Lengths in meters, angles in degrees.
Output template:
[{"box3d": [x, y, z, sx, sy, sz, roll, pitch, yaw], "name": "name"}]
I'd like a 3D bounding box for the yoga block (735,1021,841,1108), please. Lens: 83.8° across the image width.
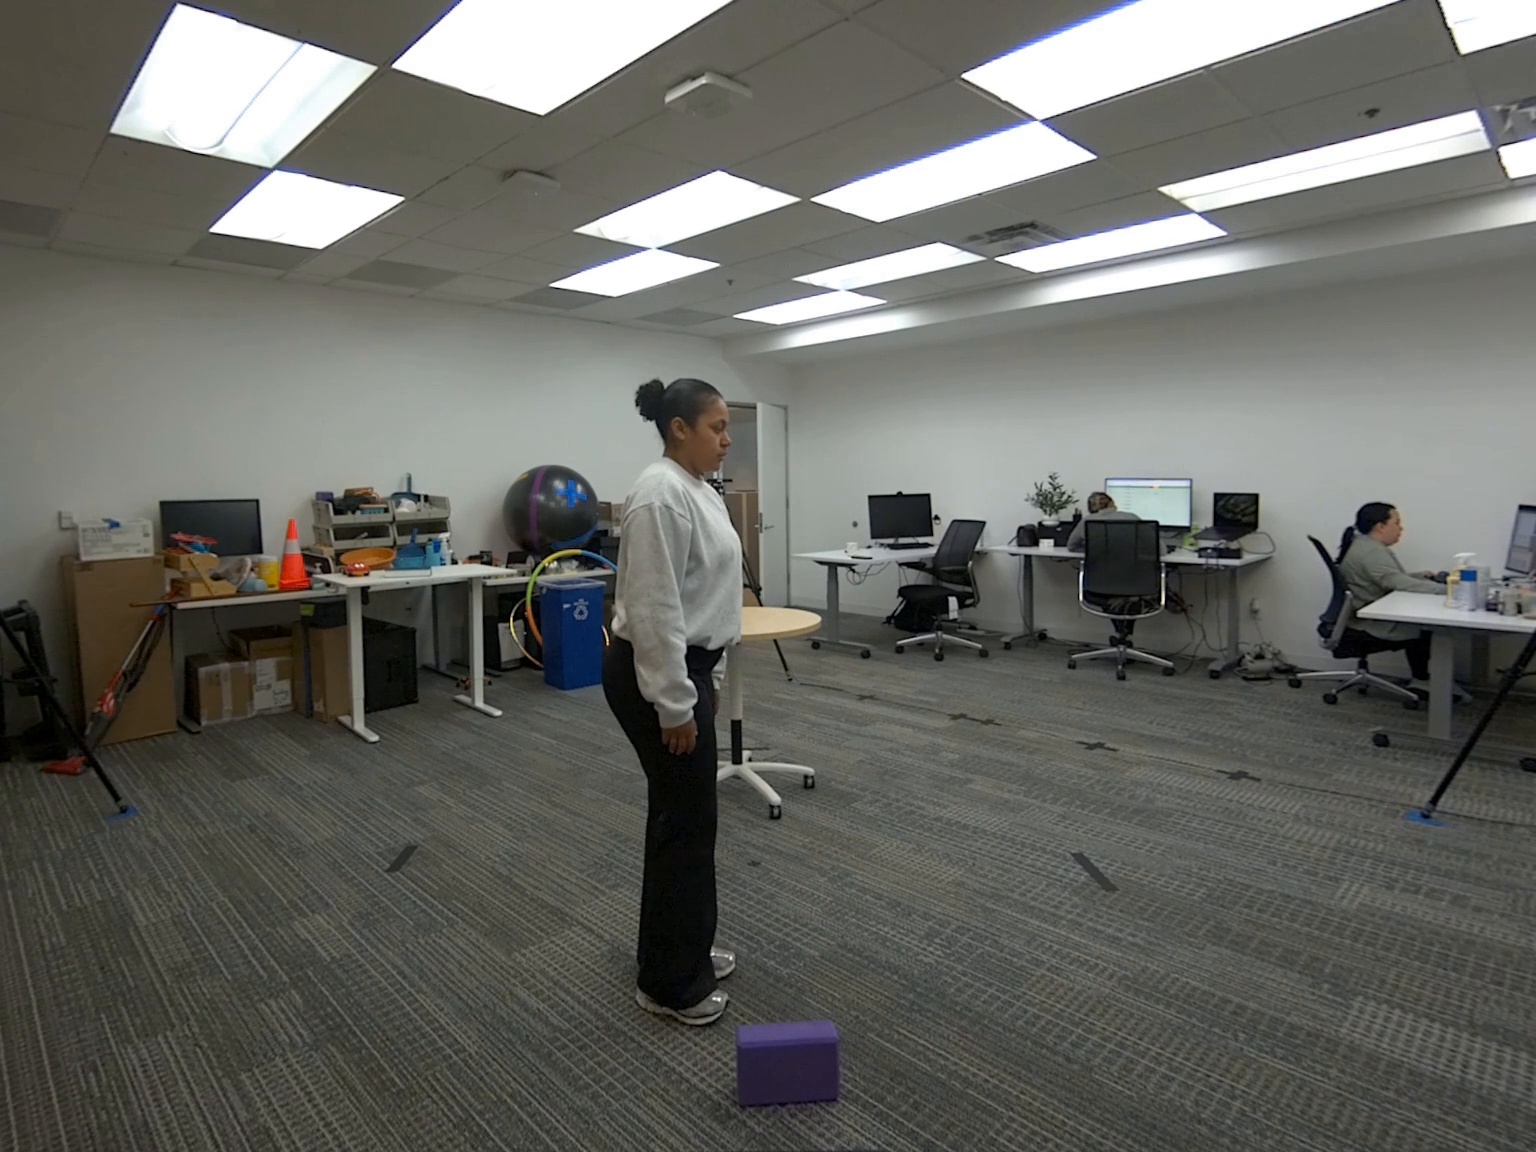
[{"box3d": [0.052, 1.112, 1.936, 0.228, 0.148, 0.077, -1, 4, -4], "name": "yoga block"}]
